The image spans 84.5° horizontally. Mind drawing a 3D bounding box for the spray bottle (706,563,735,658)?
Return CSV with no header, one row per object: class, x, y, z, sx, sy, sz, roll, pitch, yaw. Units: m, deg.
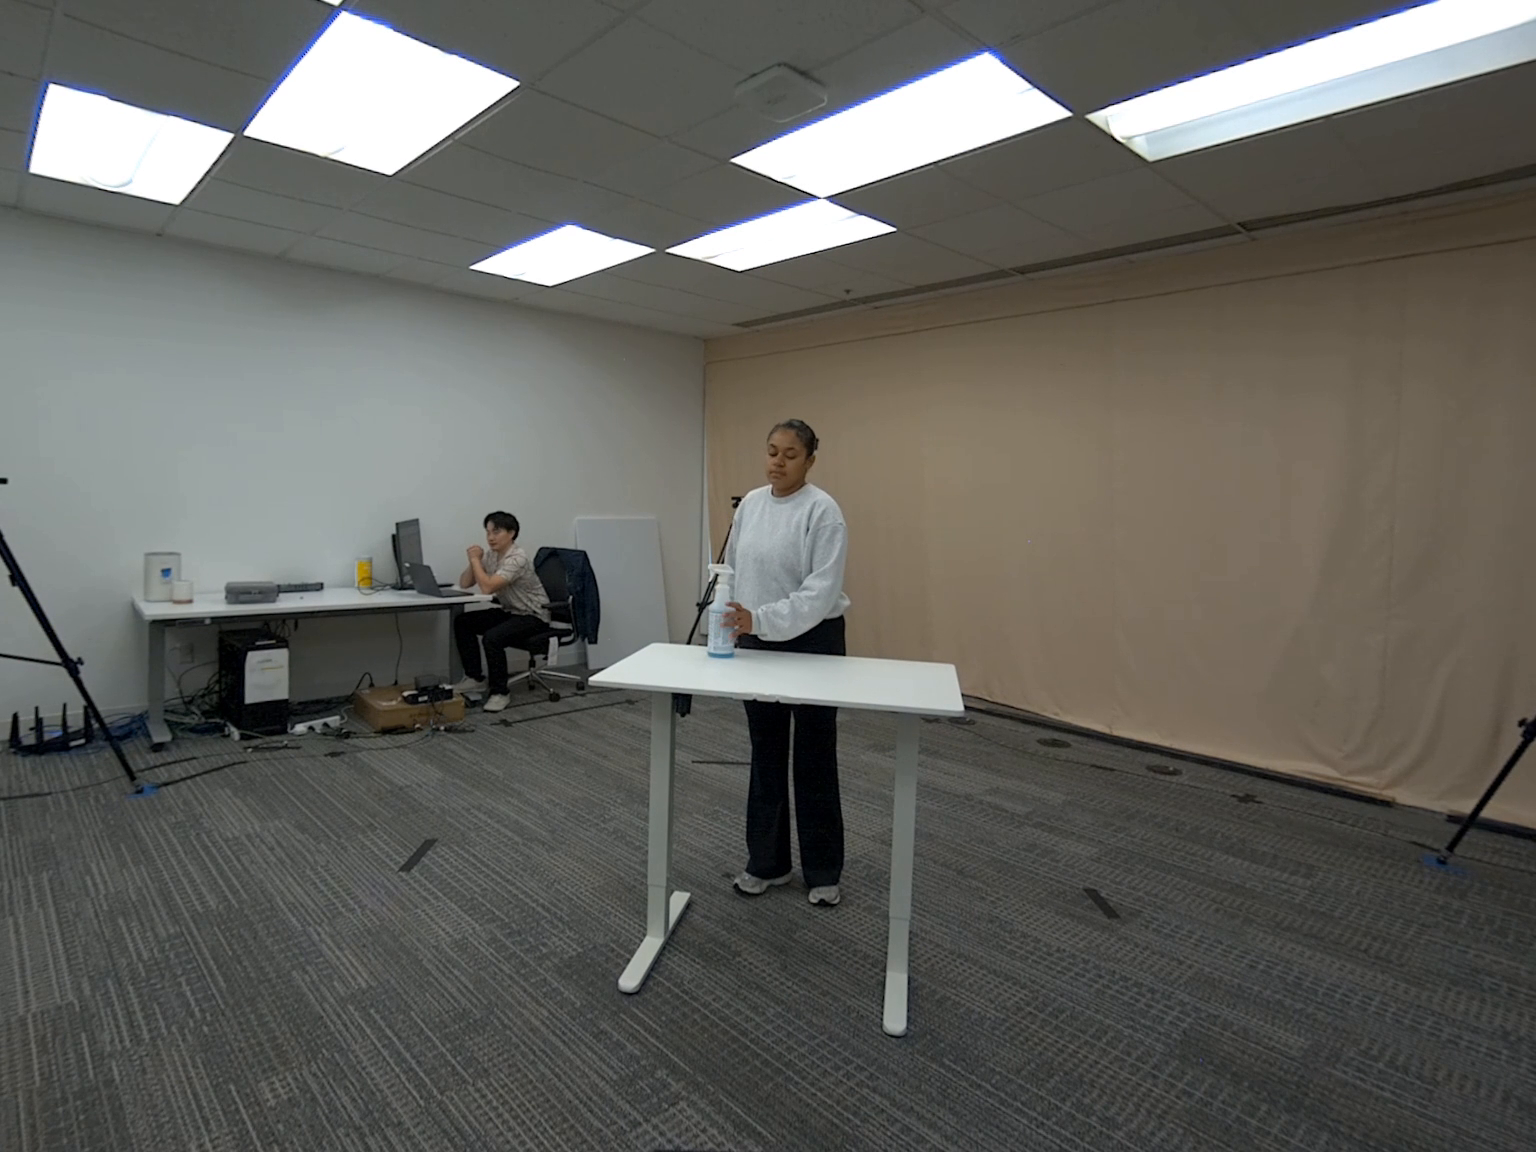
spray bottle,-0.155,0.111,2.695,0.090,0.296,0.087,1,5,-3
